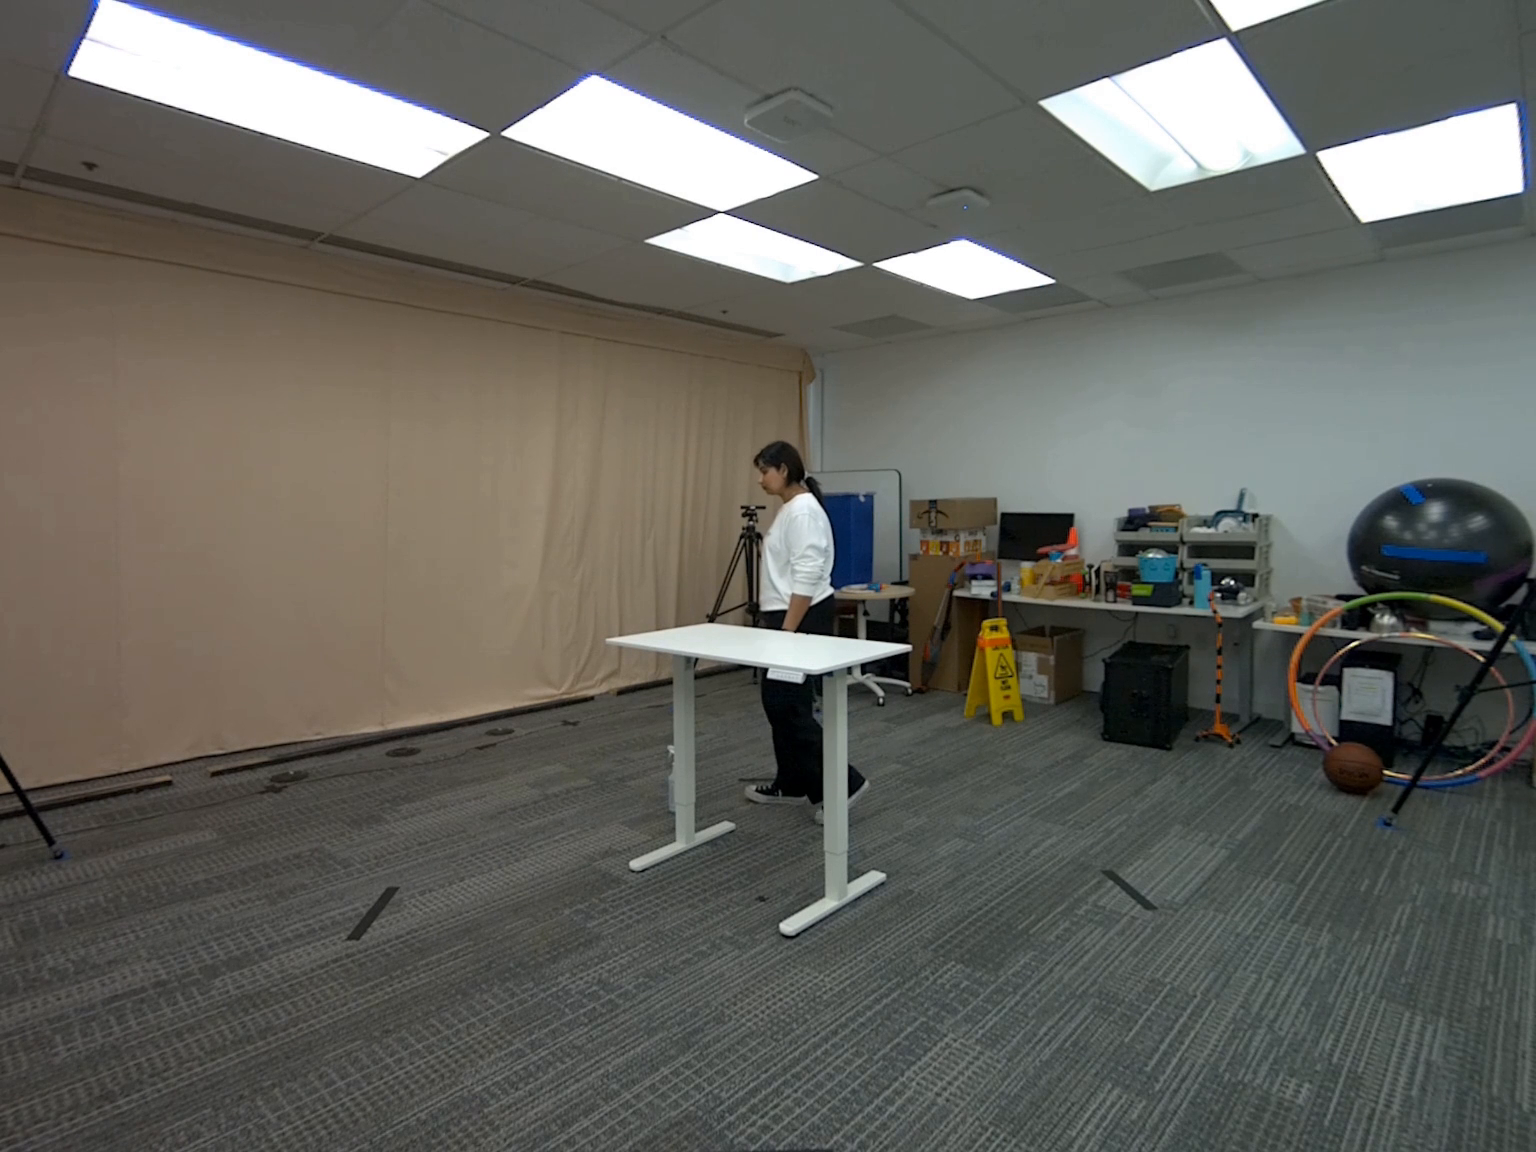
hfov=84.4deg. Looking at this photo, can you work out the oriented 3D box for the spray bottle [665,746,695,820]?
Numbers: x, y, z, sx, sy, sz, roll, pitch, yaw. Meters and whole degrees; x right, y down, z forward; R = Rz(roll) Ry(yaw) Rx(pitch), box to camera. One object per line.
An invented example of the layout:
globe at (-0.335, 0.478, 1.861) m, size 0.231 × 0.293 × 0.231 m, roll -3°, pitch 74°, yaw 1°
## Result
spray bottle at (-0.403, 0.937, 3.848) m, size 0.084 × 0.297 × 0.093 m, roll -3°, pitch 1°, yaw -34°
